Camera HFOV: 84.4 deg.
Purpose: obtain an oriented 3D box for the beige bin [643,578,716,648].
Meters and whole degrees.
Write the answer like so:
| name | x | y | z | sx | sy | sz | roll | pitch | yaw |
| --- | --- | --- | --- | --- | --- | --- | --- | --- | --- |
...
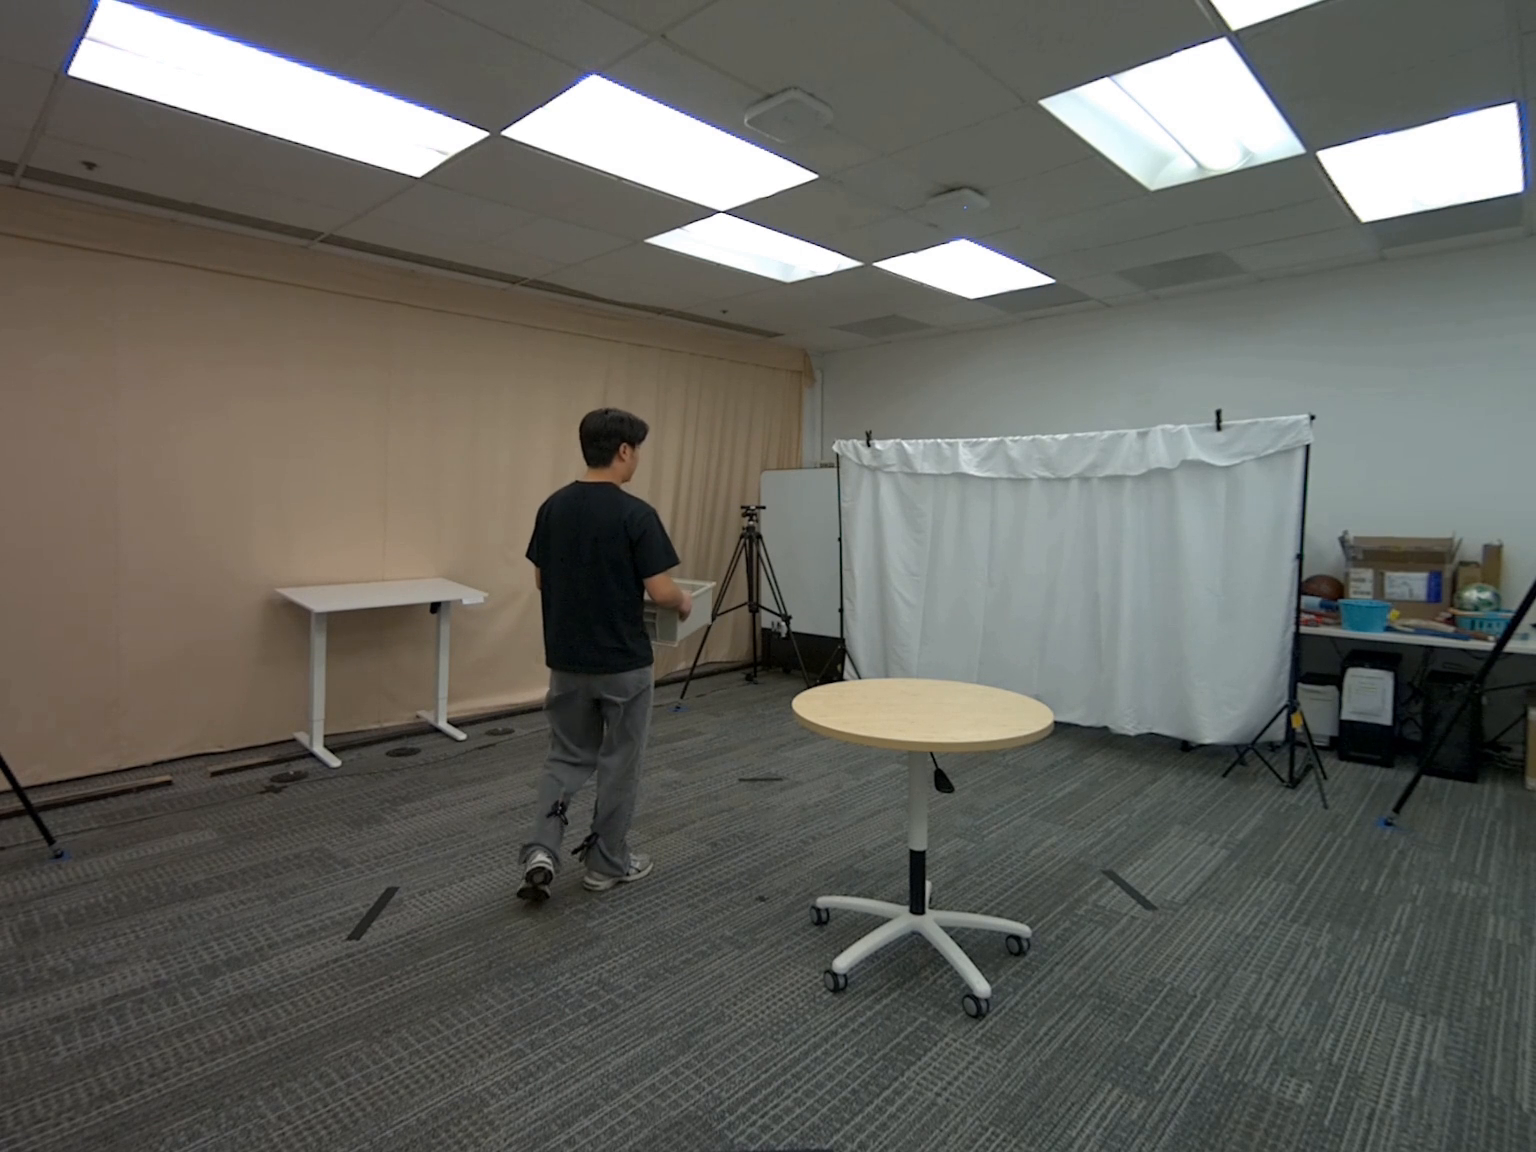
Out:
| name | x | y | z | sx | sy | sz | roll | pitch | yaw |
| --- | --- | --- | --- | --- | --- | --- | --- | --- | --- |
| beige bin | -0.461 | 0.136 | 3.439 | 0.386 | 0.188 | 0.415 | 6 | 11 | 19 |
